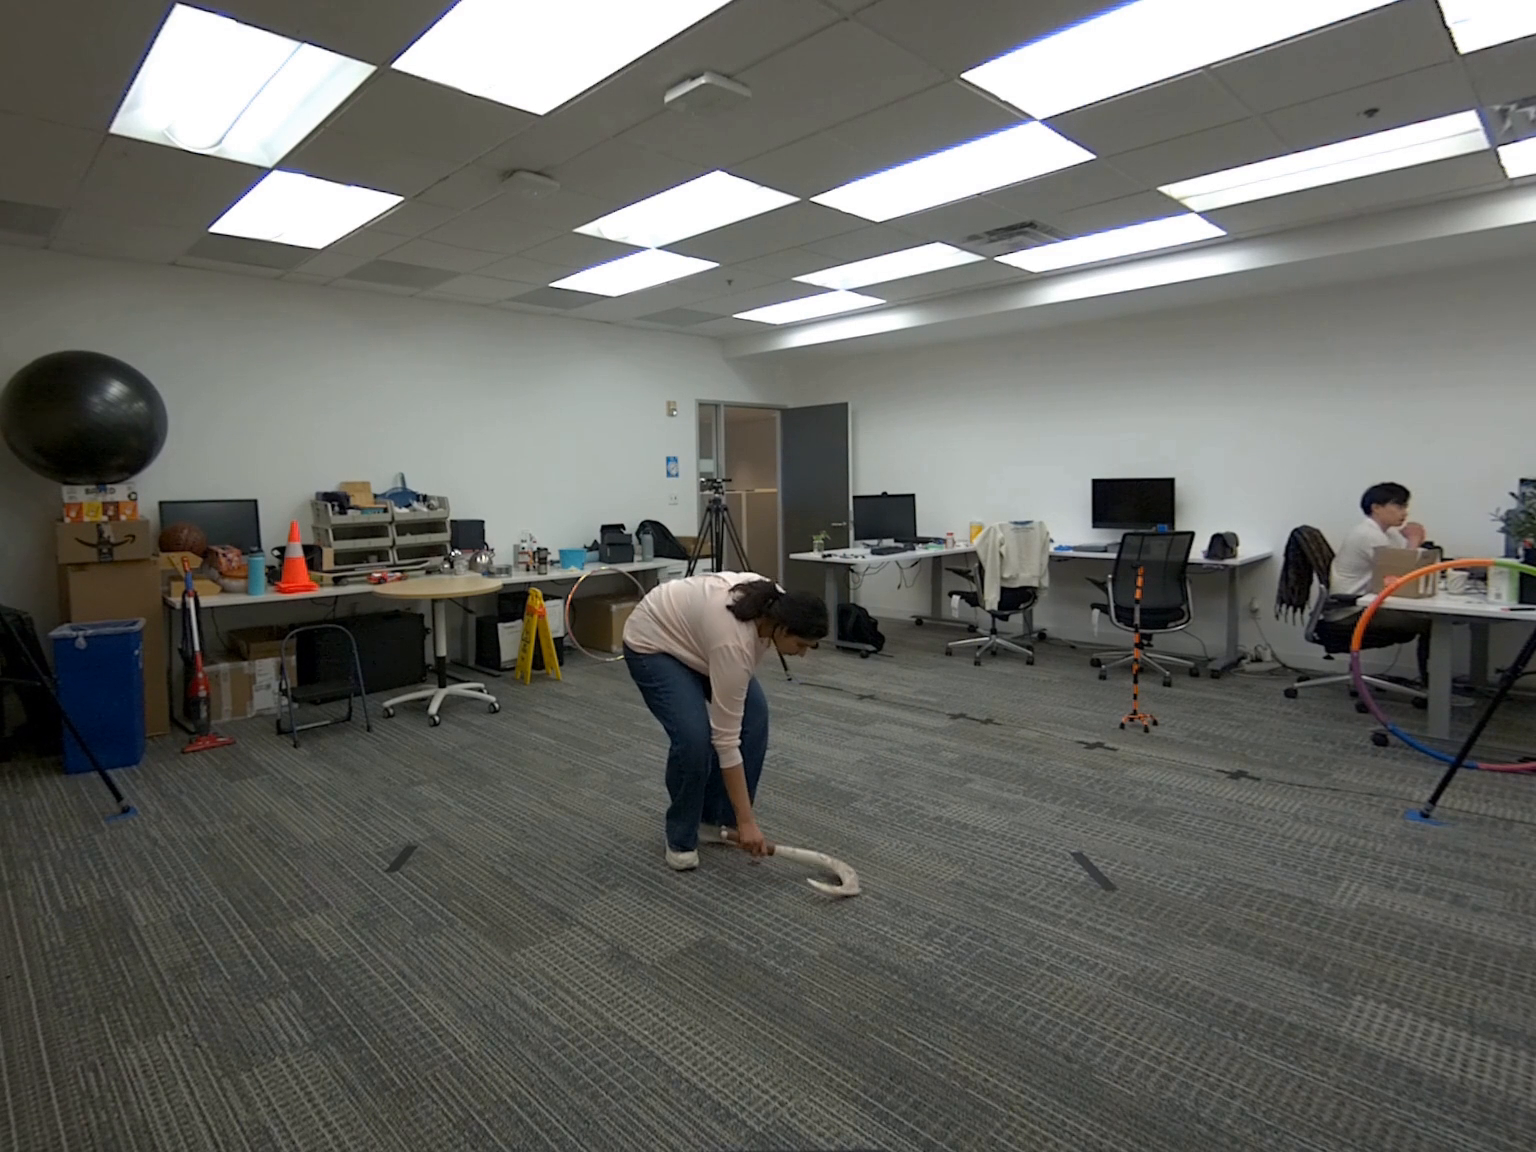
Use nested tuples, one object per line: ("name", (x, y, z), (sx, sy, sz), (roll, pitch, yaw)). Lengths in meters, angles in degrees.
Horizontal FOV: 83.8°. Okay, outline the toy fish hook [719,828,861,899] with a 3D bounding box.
("toy fish hook", (0.076, 0.968, 2.898), (0.505, 0.048, 0.226), (16, 5, -2))
